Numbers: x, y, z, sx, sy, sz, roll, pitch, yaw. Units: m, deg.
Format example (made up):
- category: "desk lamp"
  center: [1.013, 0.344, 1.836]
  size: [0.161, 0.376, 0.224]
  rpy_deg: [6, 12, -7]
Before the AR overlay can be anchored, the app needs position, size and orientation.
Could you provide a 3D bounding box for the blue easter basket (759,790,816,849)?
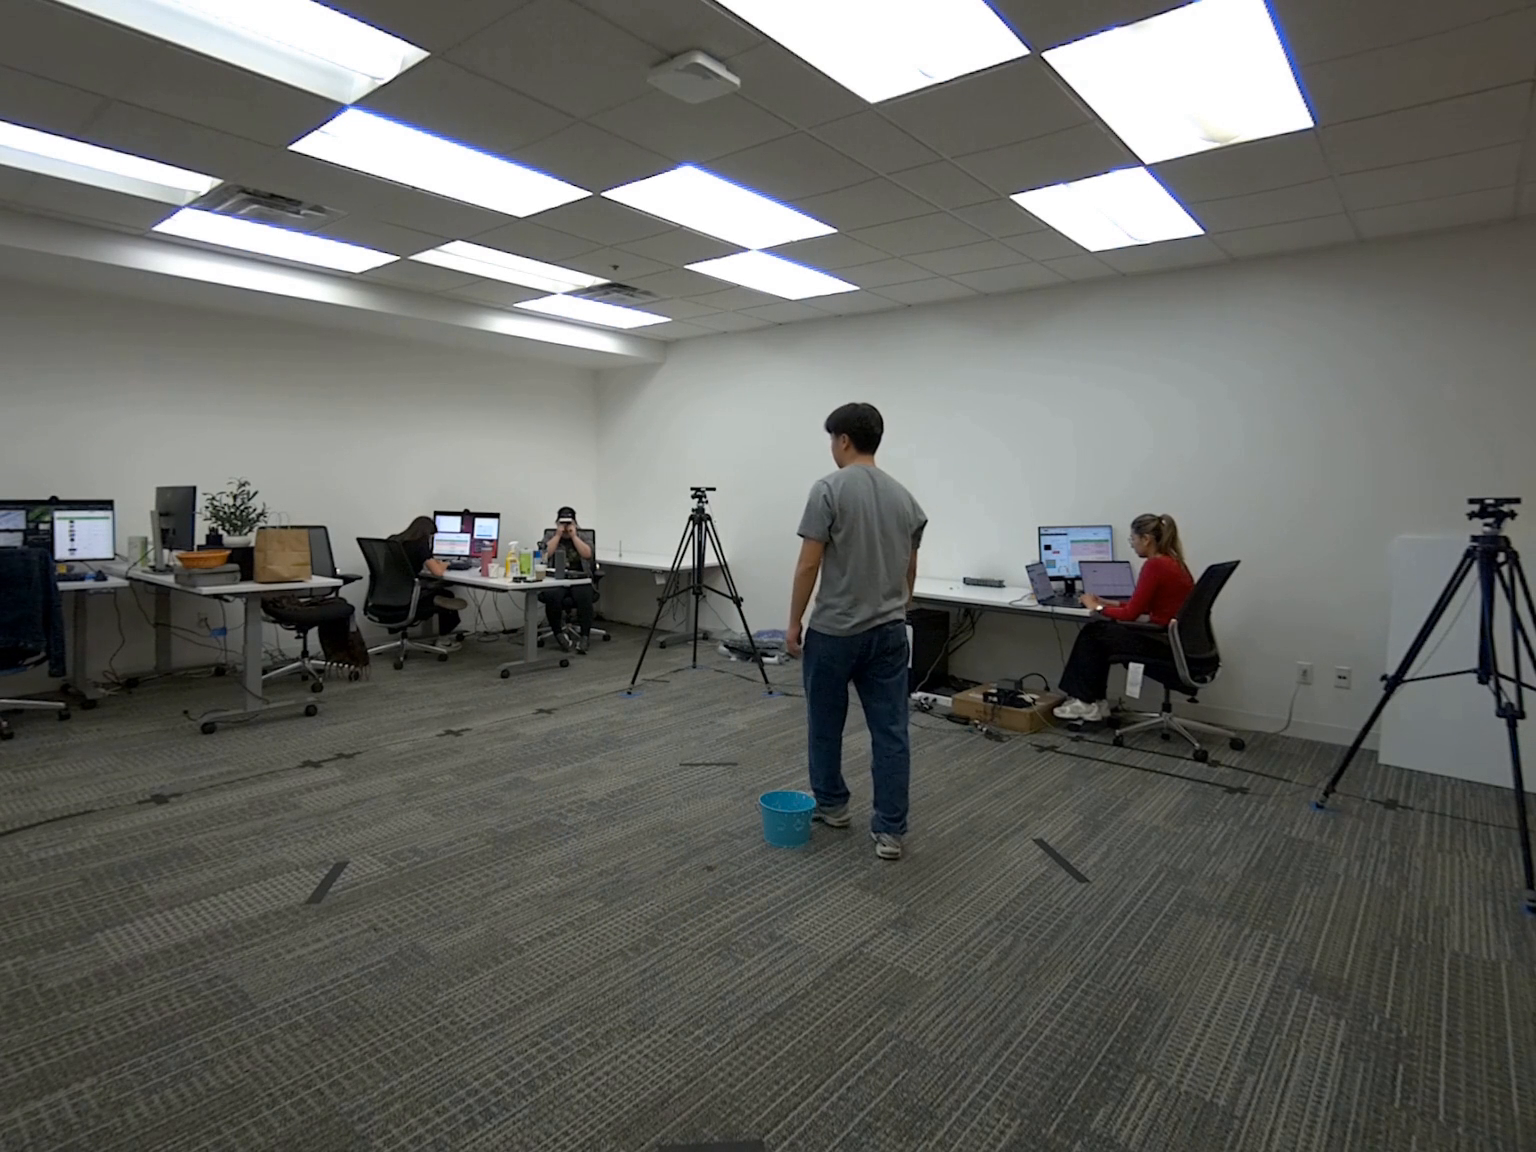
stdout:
- category: "blue easter basket"
  center: [0.070, 0.966, 3.402]
  size: [0.243, 0.155, 0.245]
  rpy_deg: [1, 5, -2]
